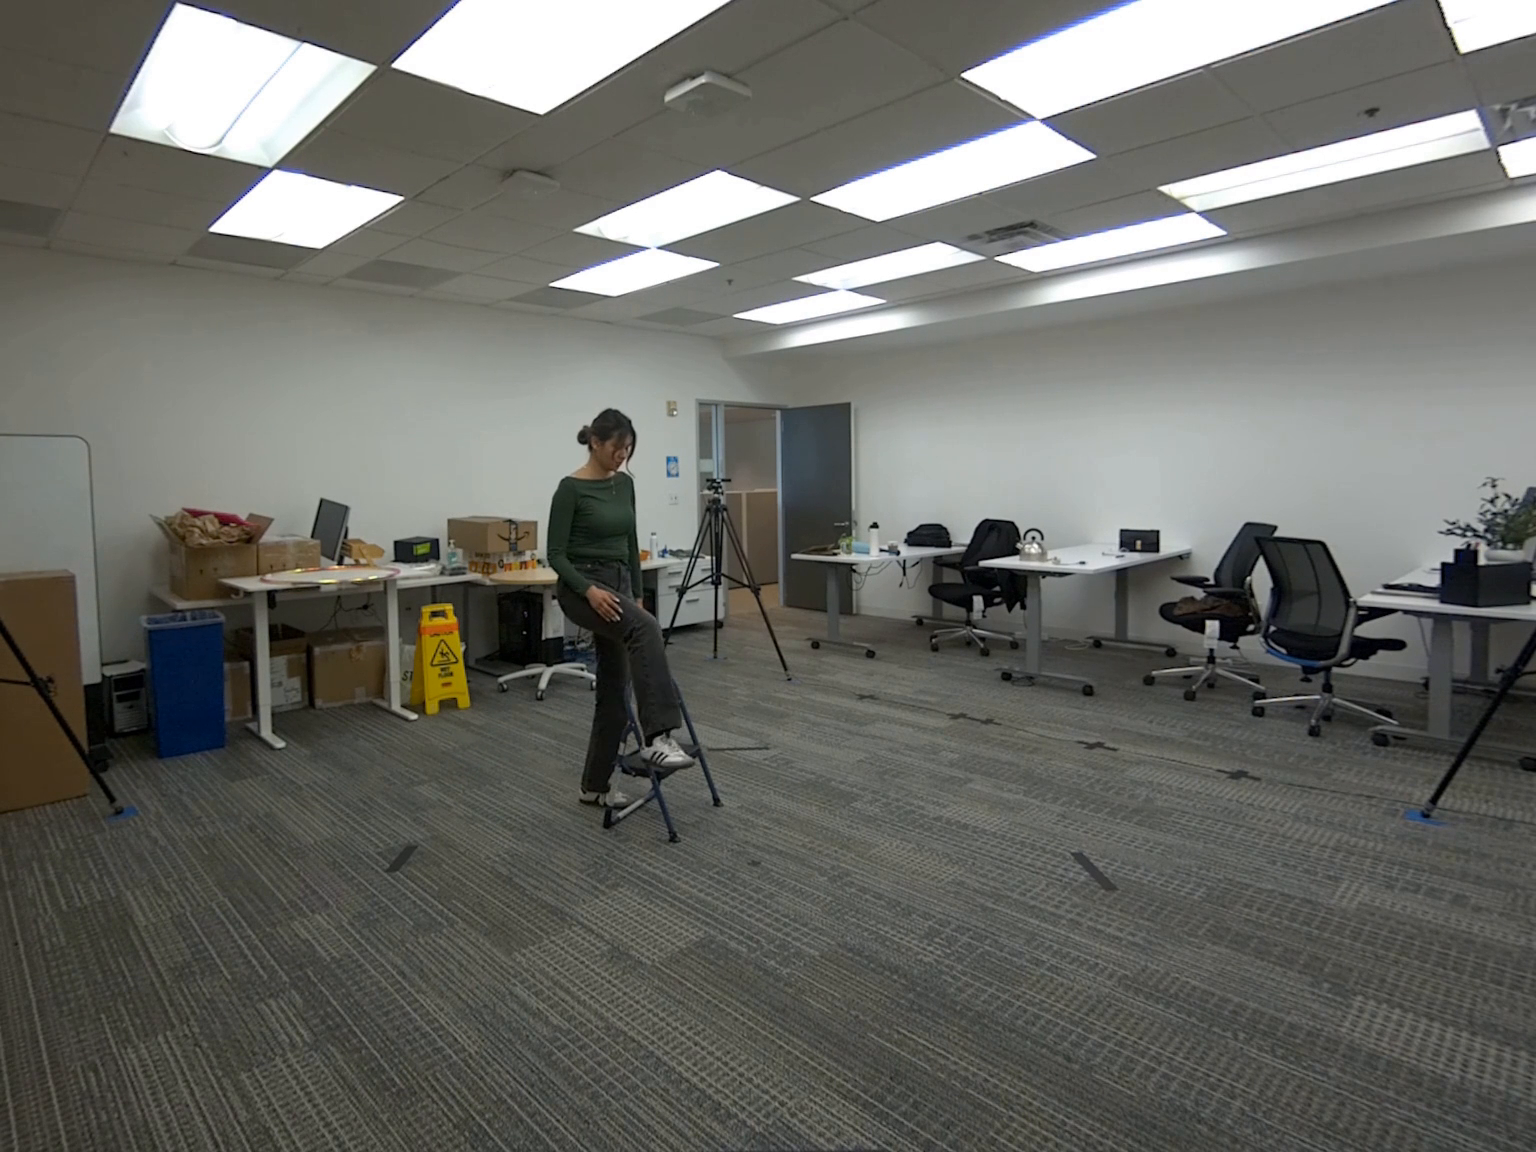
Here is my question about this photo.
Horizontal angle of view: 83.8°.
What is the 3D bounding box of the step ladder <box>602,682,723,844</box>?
[{"bbox_3d":[-0.436,0.700,3.535,0.357,0.604,0.423,1,5,23],"label":"step ladder"}]
